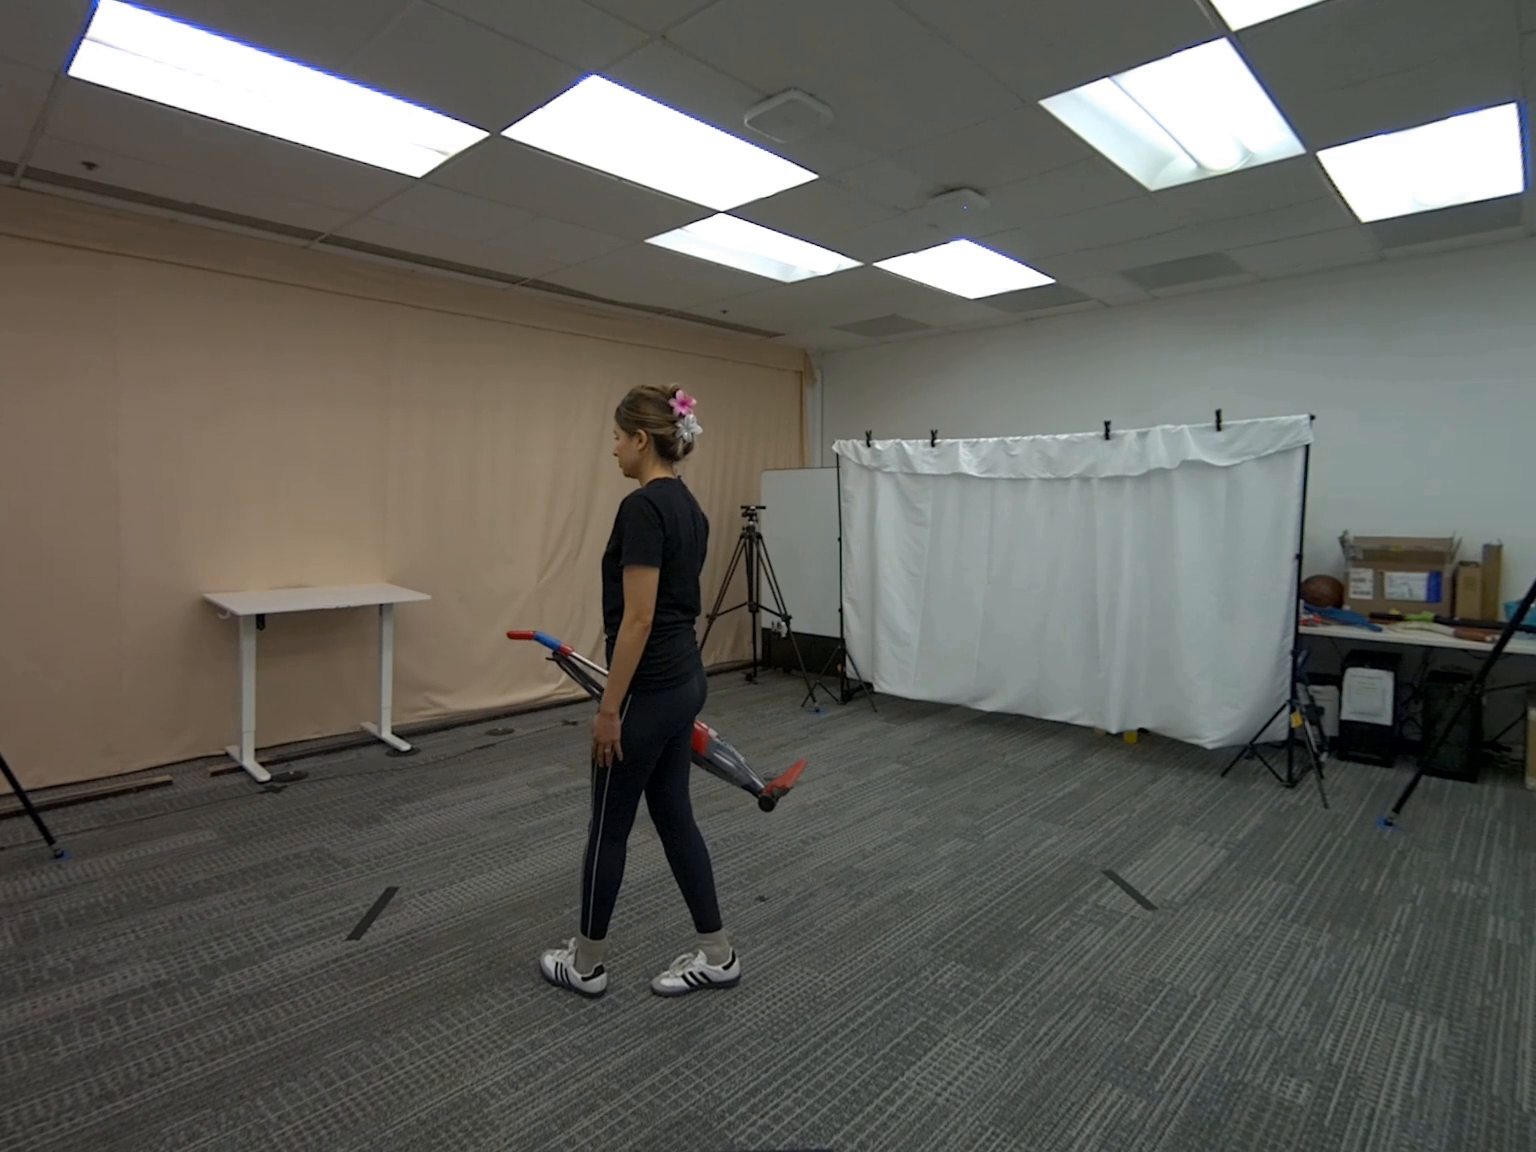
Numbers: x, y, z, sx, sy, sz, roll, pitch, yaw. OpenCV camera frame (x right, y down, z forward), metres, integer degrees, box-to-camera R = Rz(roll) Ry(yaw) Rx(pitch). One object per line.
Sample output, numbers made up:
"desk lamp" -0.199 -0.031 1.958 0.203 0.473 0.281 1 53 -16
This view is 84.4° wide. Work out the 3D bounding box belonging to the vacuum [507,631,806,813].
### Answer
"vacuum" -0.396 0.428 2.697 1.068 0.144 0.248 27 11 14
